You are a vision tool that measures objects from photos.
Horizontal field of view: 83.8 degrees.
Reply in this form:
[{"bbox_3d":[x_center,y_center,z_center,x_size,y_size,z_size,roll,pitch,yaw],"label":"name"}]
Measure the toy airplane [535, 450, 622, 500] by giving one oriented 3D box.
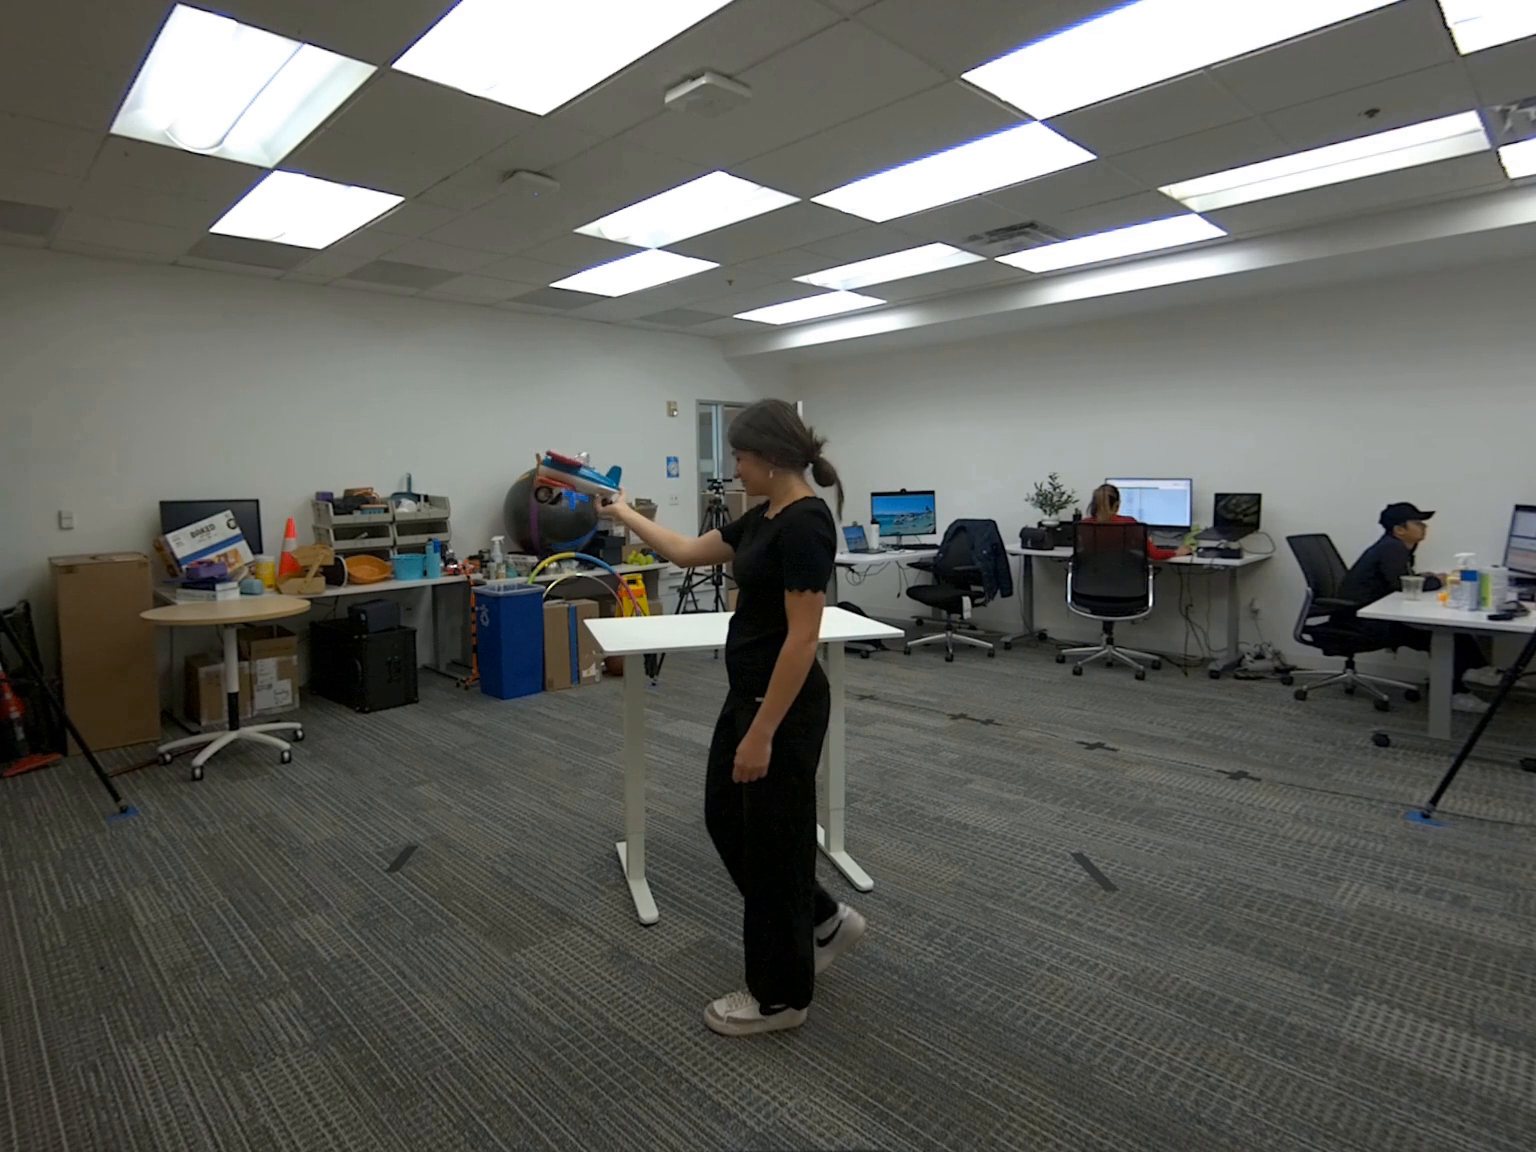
[{"bbox_3d":[-0.555,-0.283,2.545,0.254,0.156,0.256,4,0,-20],"label":"toy airplane"}]
